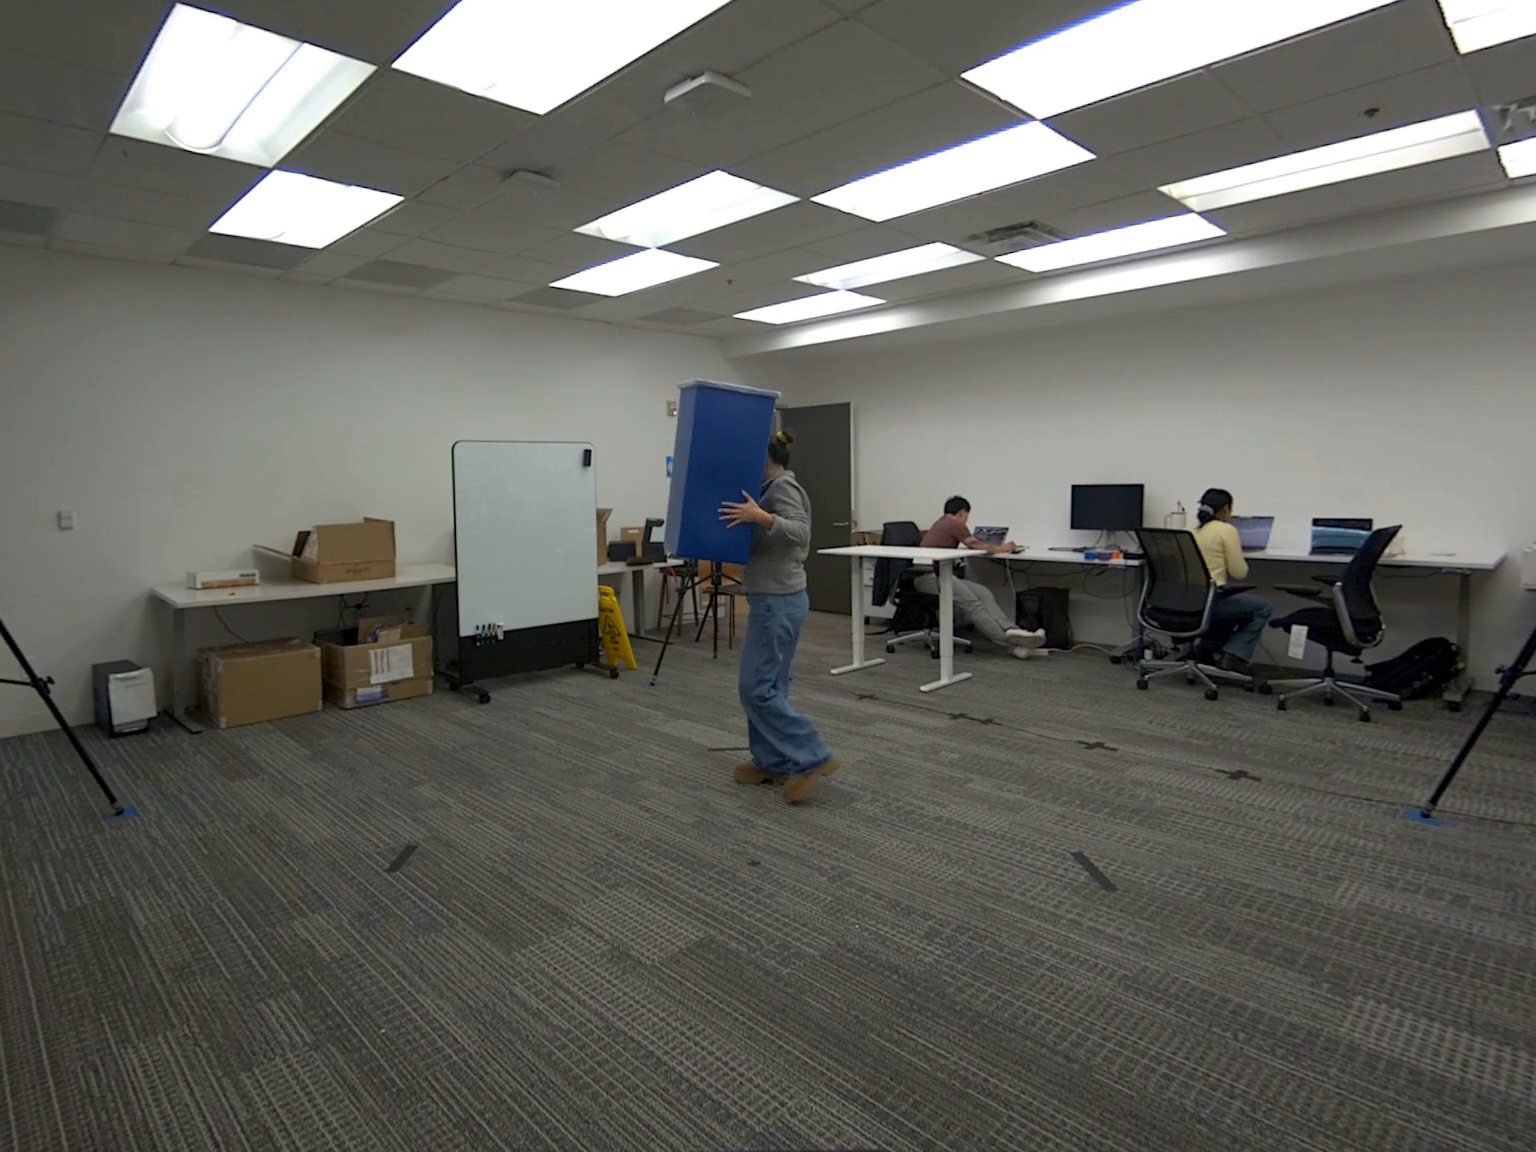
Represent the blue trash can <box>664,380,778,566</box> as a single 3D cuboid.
[{"bbox_3d":[-0.215,-0.439,3.579,0.367,0.711,0.386,7,5,-18],"label":"blue trash can"}]
